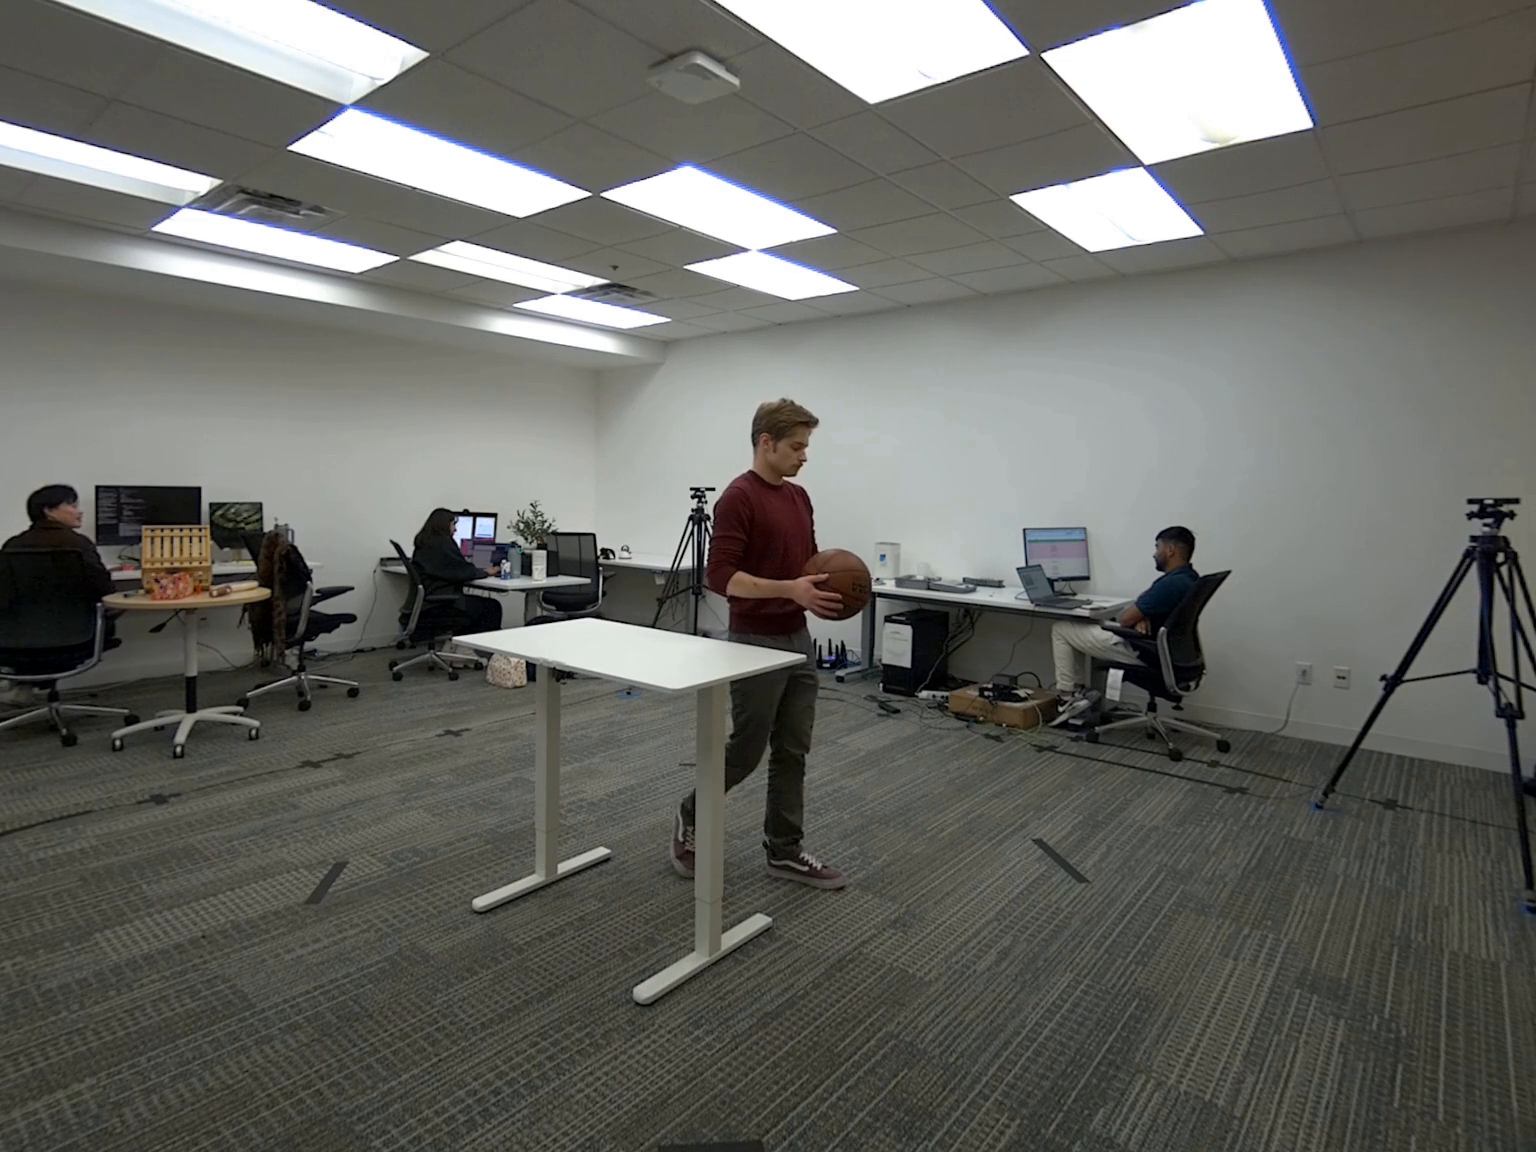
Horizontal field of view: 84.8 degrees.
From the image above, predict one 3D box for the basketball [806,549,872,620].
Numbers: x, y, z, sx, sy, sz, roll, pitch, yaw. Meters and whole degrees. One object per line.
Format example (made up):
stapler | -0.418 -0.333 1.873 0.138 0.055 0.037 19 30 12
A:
basketball | 0.215 0.028 2.828 0.235 0.235 0.237 1 4 -2
